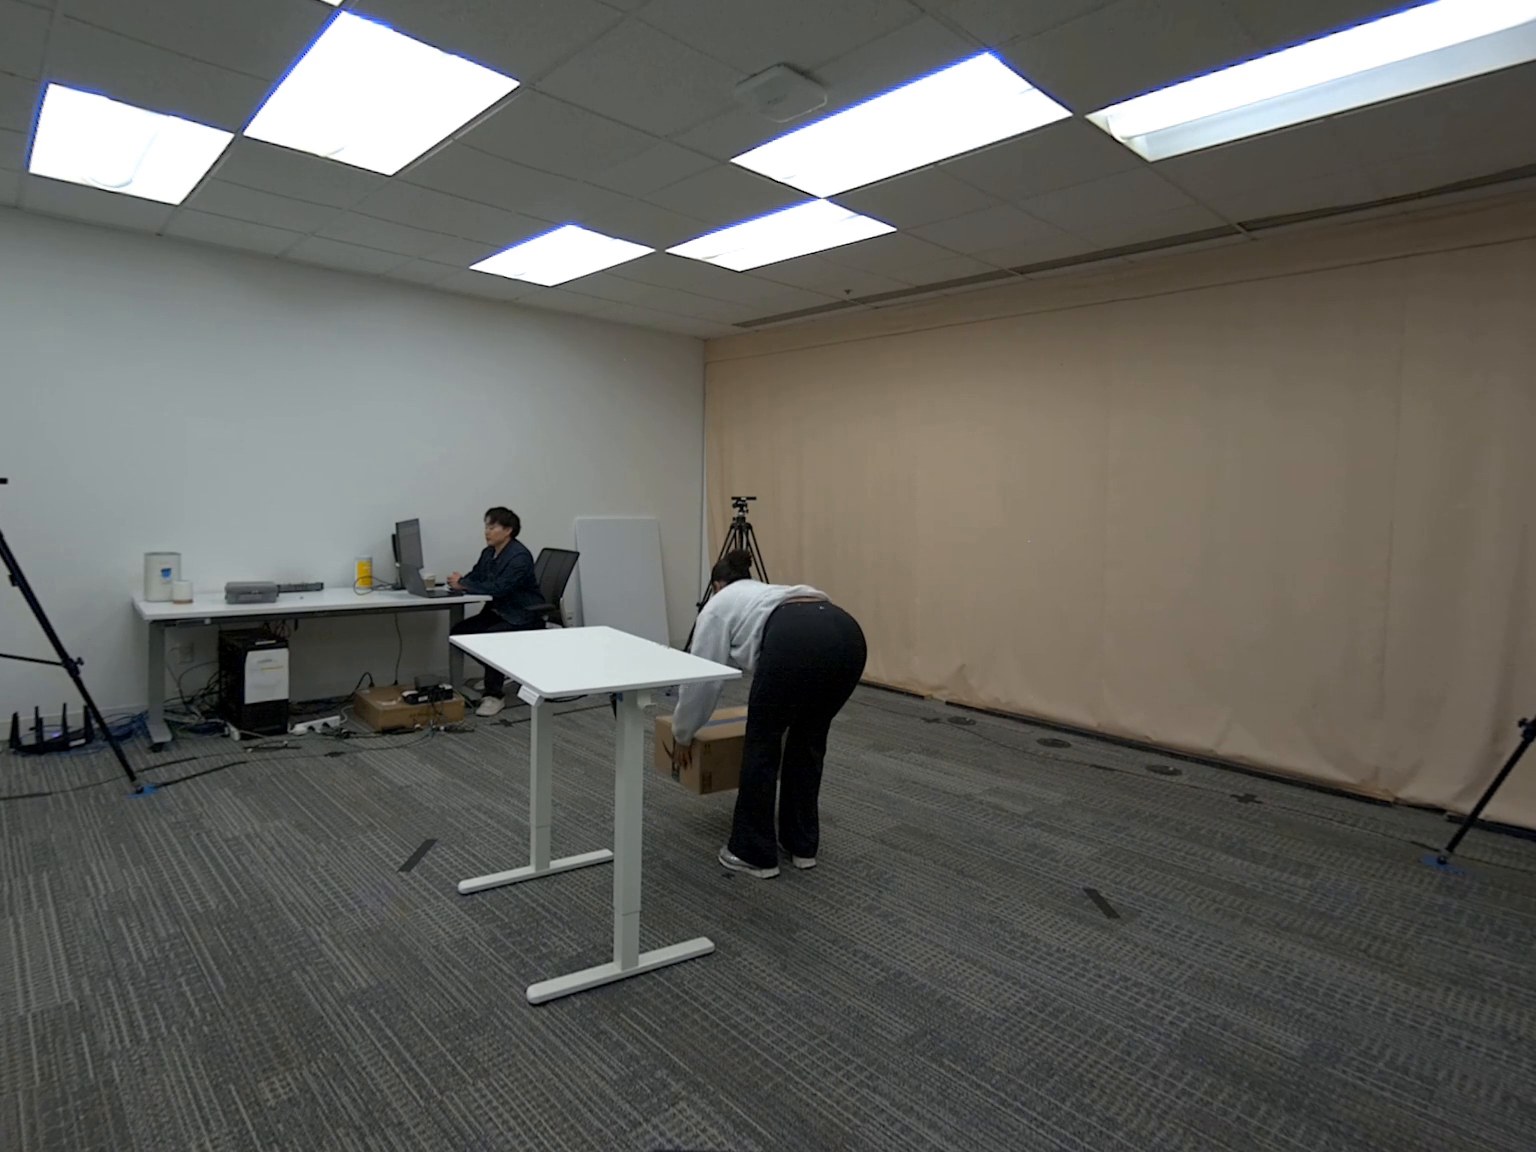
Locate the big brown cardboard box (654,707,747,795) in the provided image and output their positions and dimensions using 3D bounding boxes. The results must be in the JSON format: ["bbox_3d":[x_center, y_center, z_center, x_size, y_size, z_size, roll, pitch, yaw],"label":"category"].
[{"bbox_3d":[-0.144,0.710,3.566,0.577,0.232,0.427,-3,5,-32],"label":"big brown cardboard box"}]
